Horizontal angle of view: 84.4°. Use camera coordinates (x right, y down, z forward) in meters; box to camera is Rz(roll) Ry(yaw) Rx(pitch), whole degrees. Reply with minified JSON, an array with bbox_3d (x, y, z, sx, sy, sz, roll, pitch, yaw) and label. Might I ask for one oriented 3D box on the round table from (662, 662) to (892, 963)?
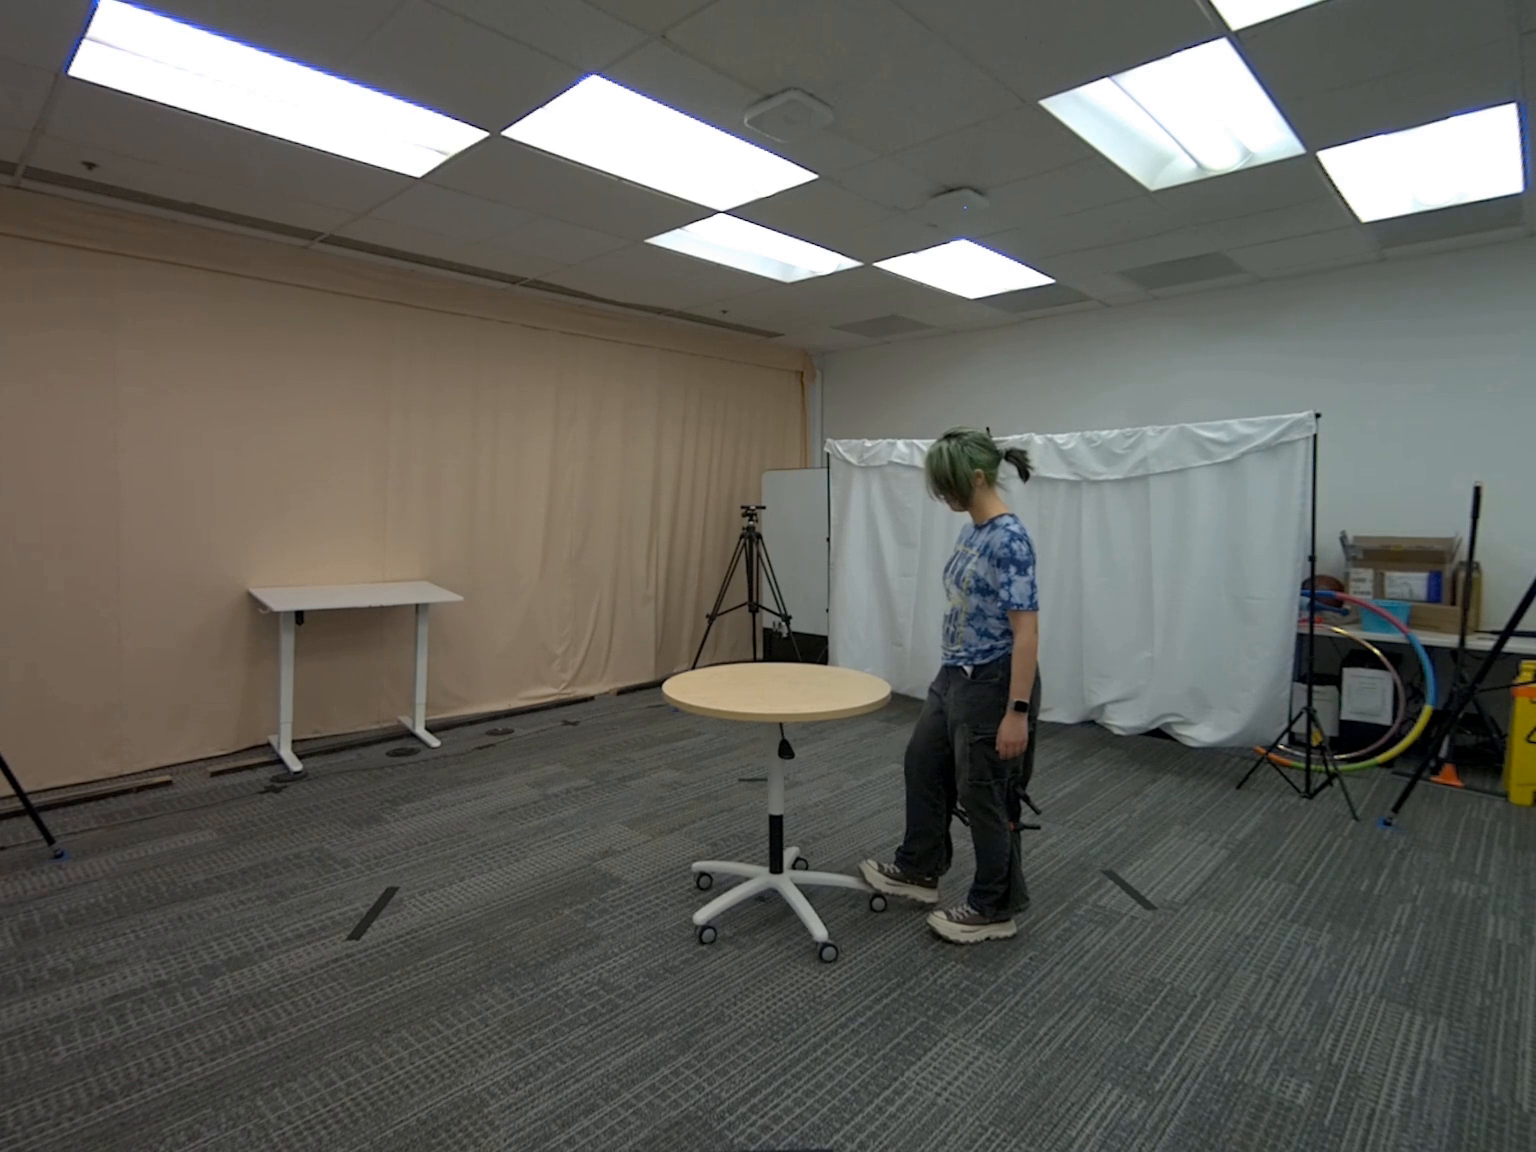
[{"bbox_3d":[0.025,0.766,2.870,0.763,0.792,0.767,0,4,-2],"label":"round table"}]
